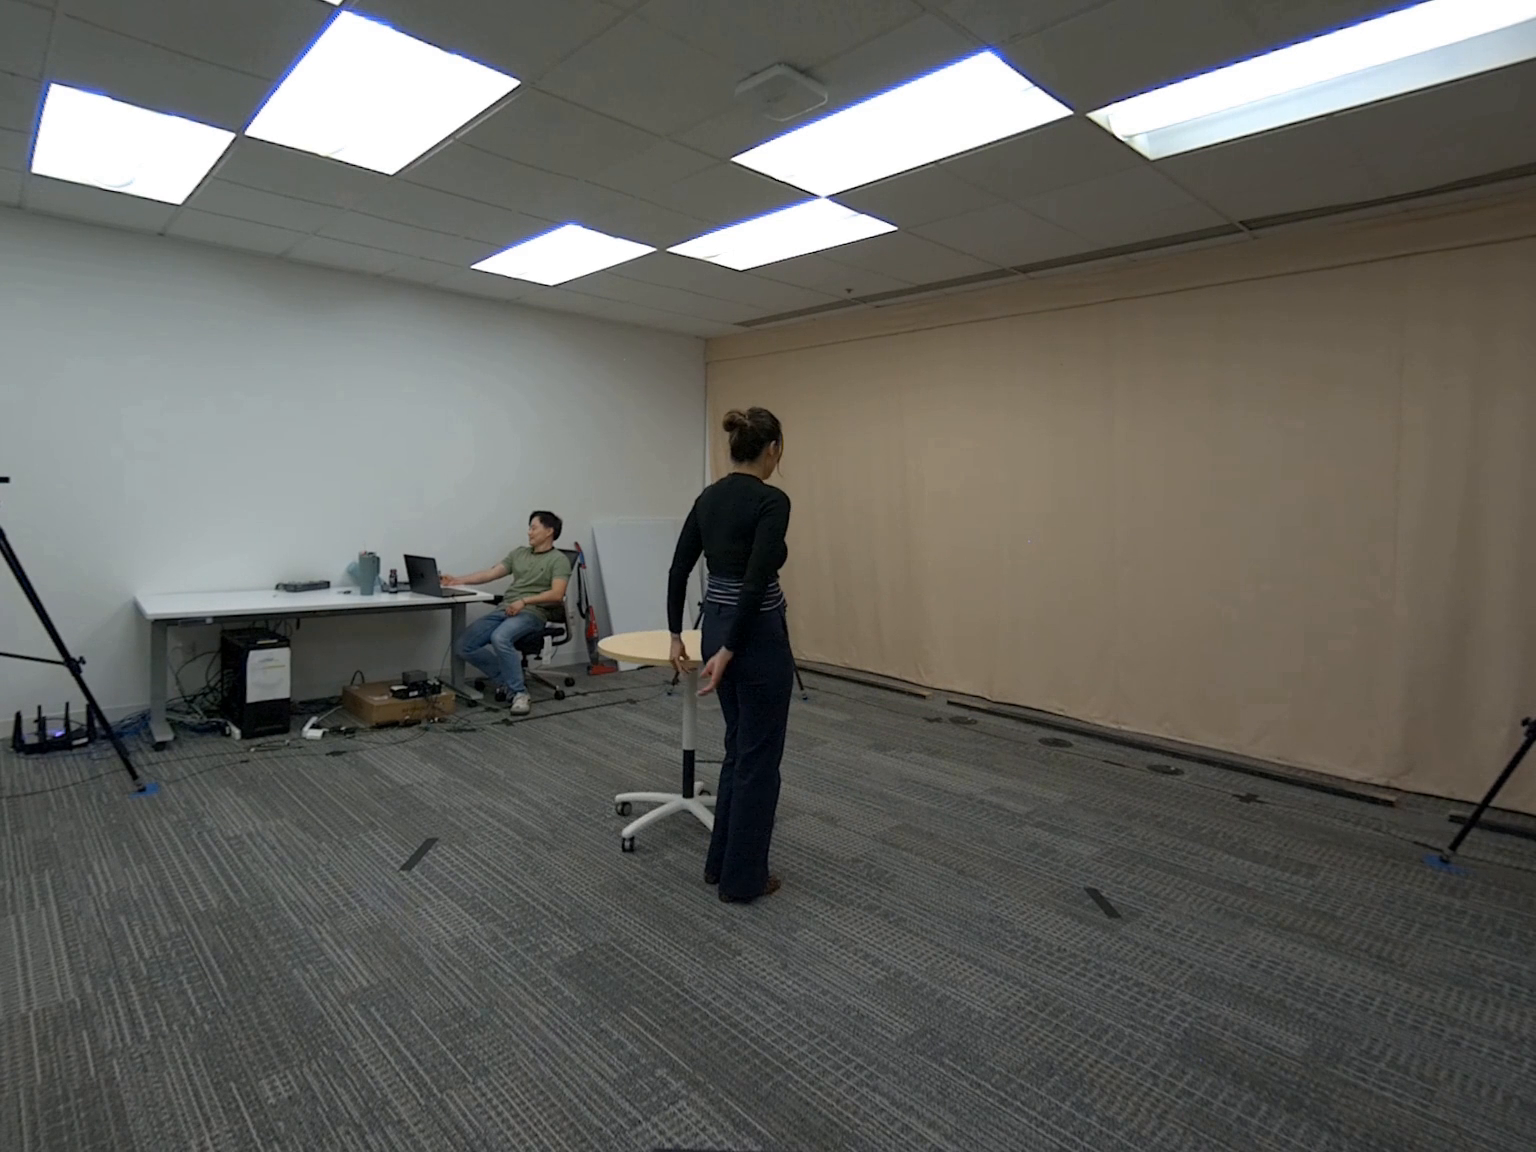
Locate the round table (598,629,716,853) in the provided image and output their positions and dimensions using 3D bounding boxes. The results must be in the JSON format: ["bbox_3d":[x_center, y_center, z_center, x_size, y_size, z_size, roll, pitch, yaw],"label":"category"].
[{"bbox_3d":[-0.336,0.675,3.500,0.763,0.792,0.766,1,3,-1],"label":"round table"}]
